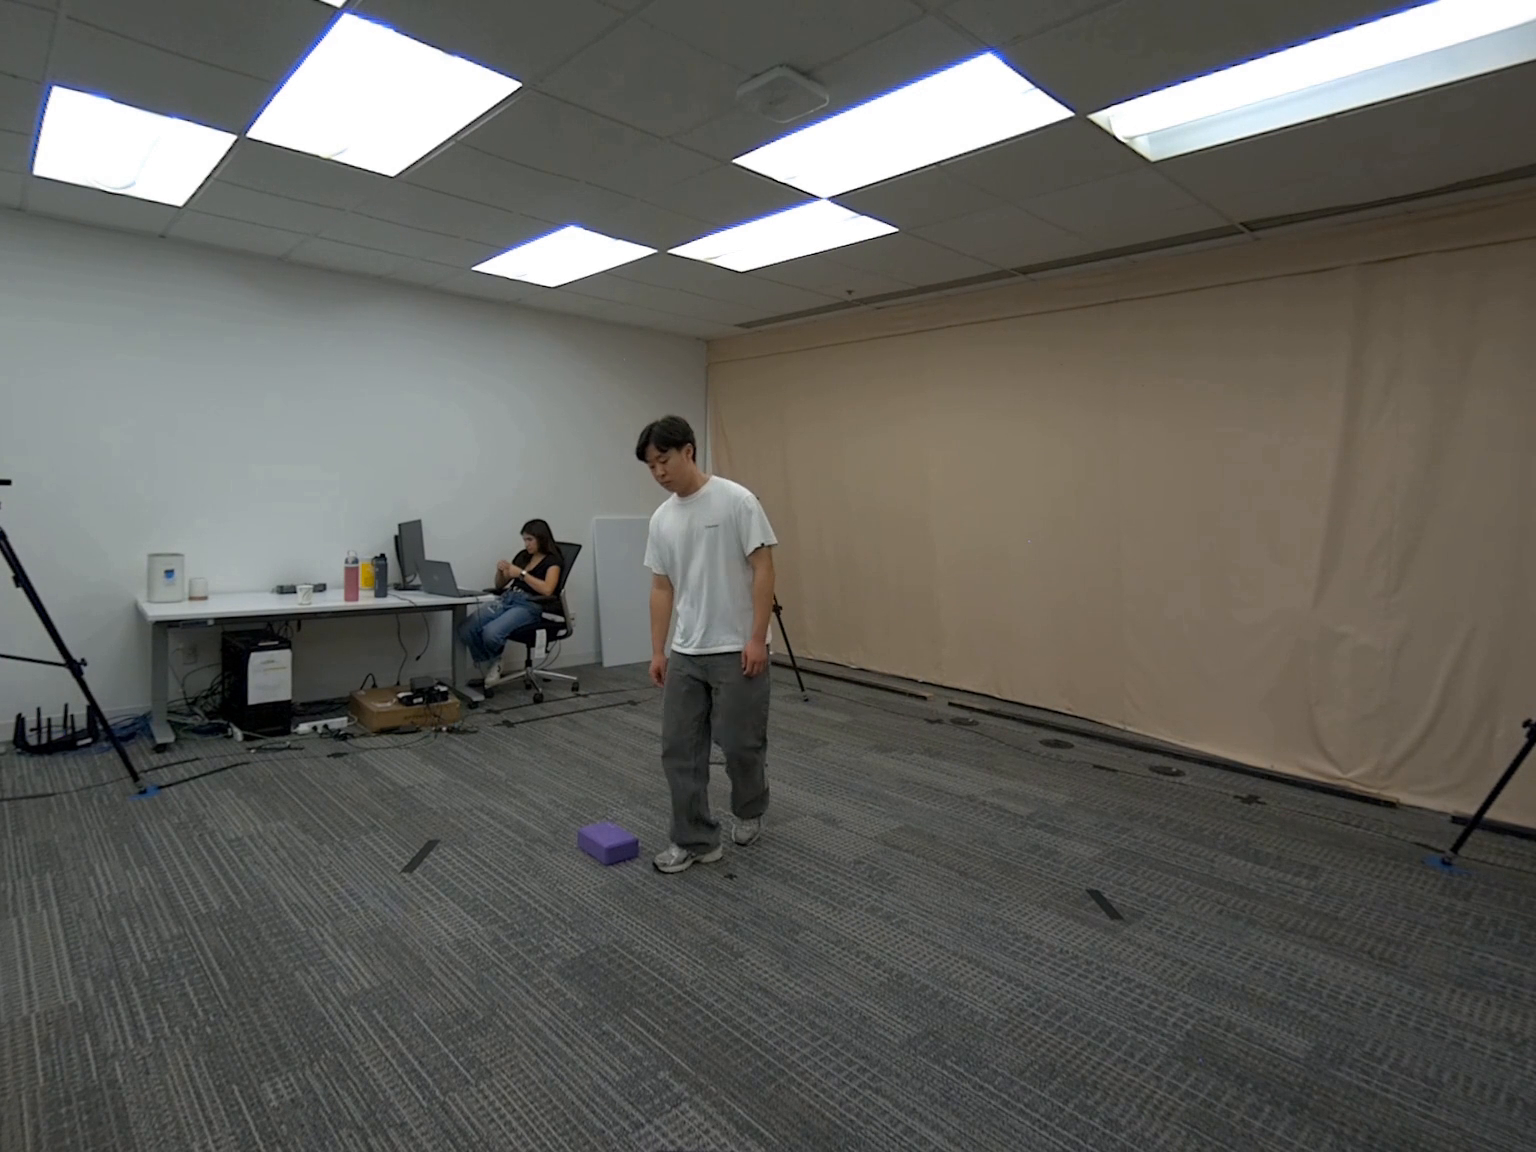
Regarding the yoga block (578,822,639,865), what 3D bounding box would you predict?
[{"bbox_3d":[-0.632,1.037,3.292,0.145,0.076,0.235,-3,6,-41],"label":"yoga block"}]
